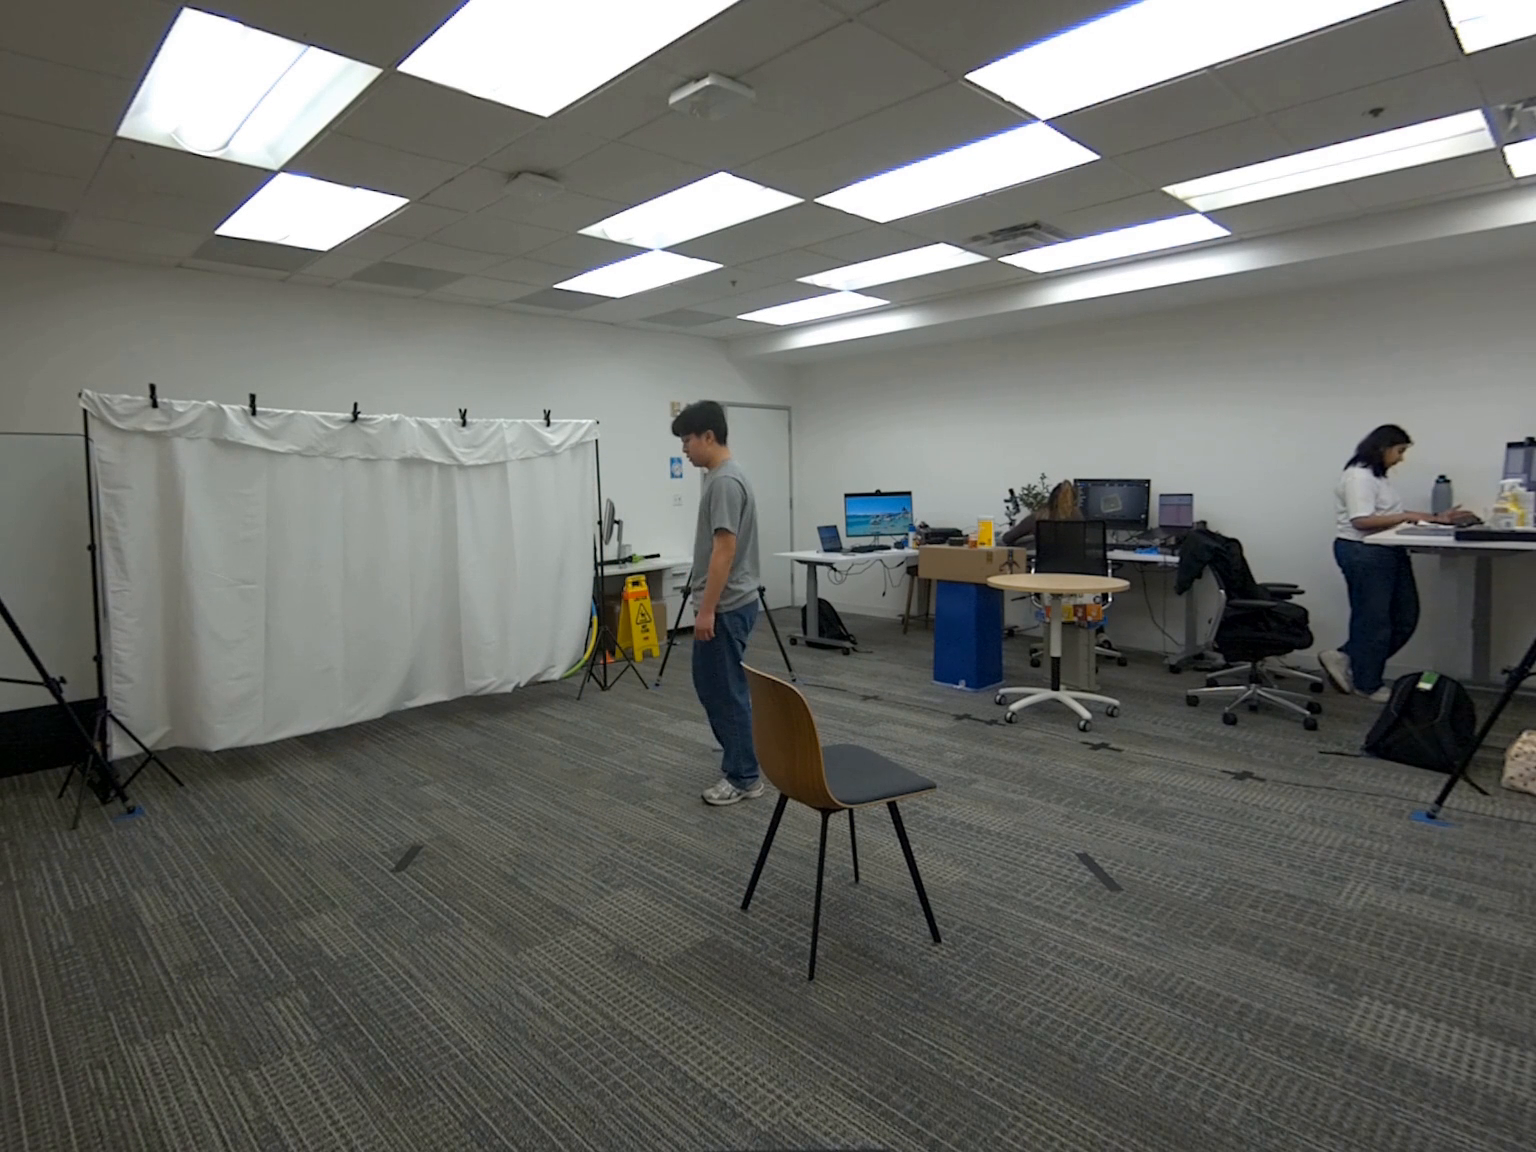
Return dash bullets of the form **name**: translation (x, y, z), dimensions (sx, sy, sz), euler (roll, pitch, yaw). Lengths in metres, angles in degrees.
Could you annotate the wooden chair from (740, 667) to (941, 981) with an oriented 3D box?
- **wooden chair**: translation (0.218, 0.669, 2.641), dimensions (0.513, 0.872, 0.490), euler (-8, 7, -25)
